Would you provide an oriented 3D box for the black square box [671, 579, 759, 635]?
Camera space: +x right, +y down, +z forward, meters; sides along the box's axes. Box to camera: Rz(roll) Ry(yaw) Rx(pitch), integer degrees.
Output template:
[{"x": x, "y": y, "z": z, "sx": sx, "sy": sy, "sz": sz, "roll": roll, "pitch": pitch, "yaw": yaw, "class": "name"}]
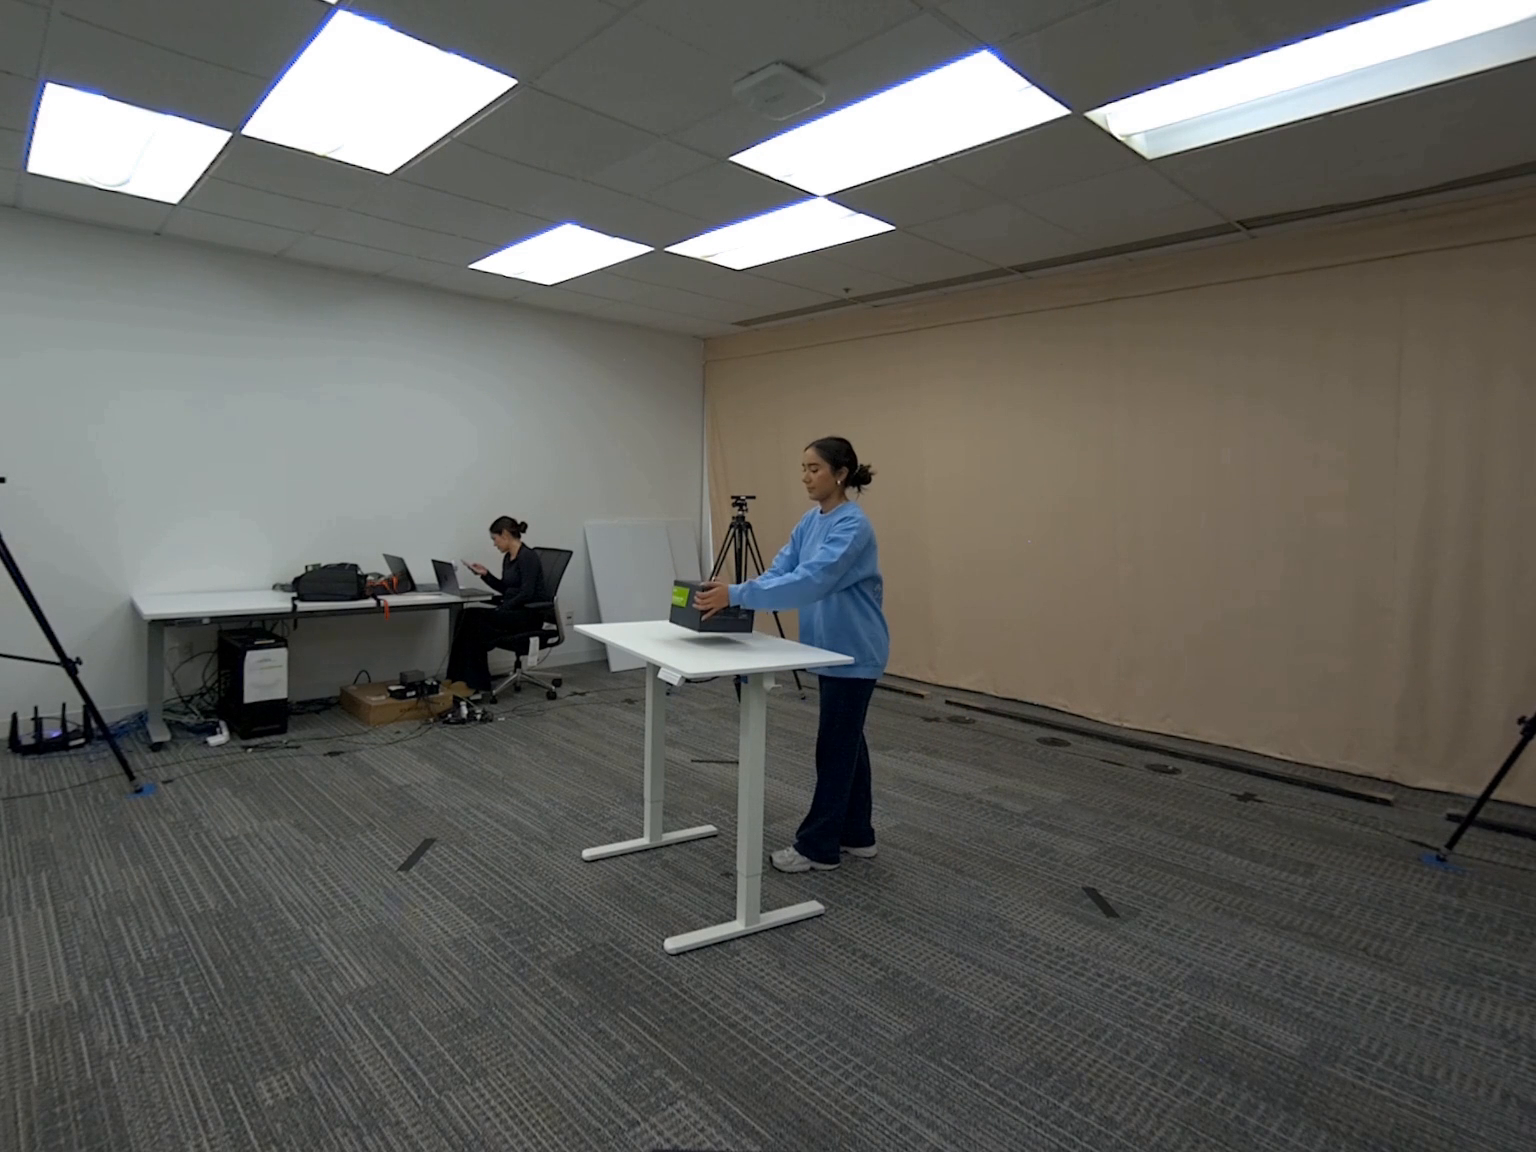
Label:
[{"x": -0.188, "y": 0.106, "z": 2.969, "sx": 0.212, "sy": 0.156, "sz": 0.233, "roll": 4, "pitch": 2, "yaw": -30, "class": "black square box"}]
